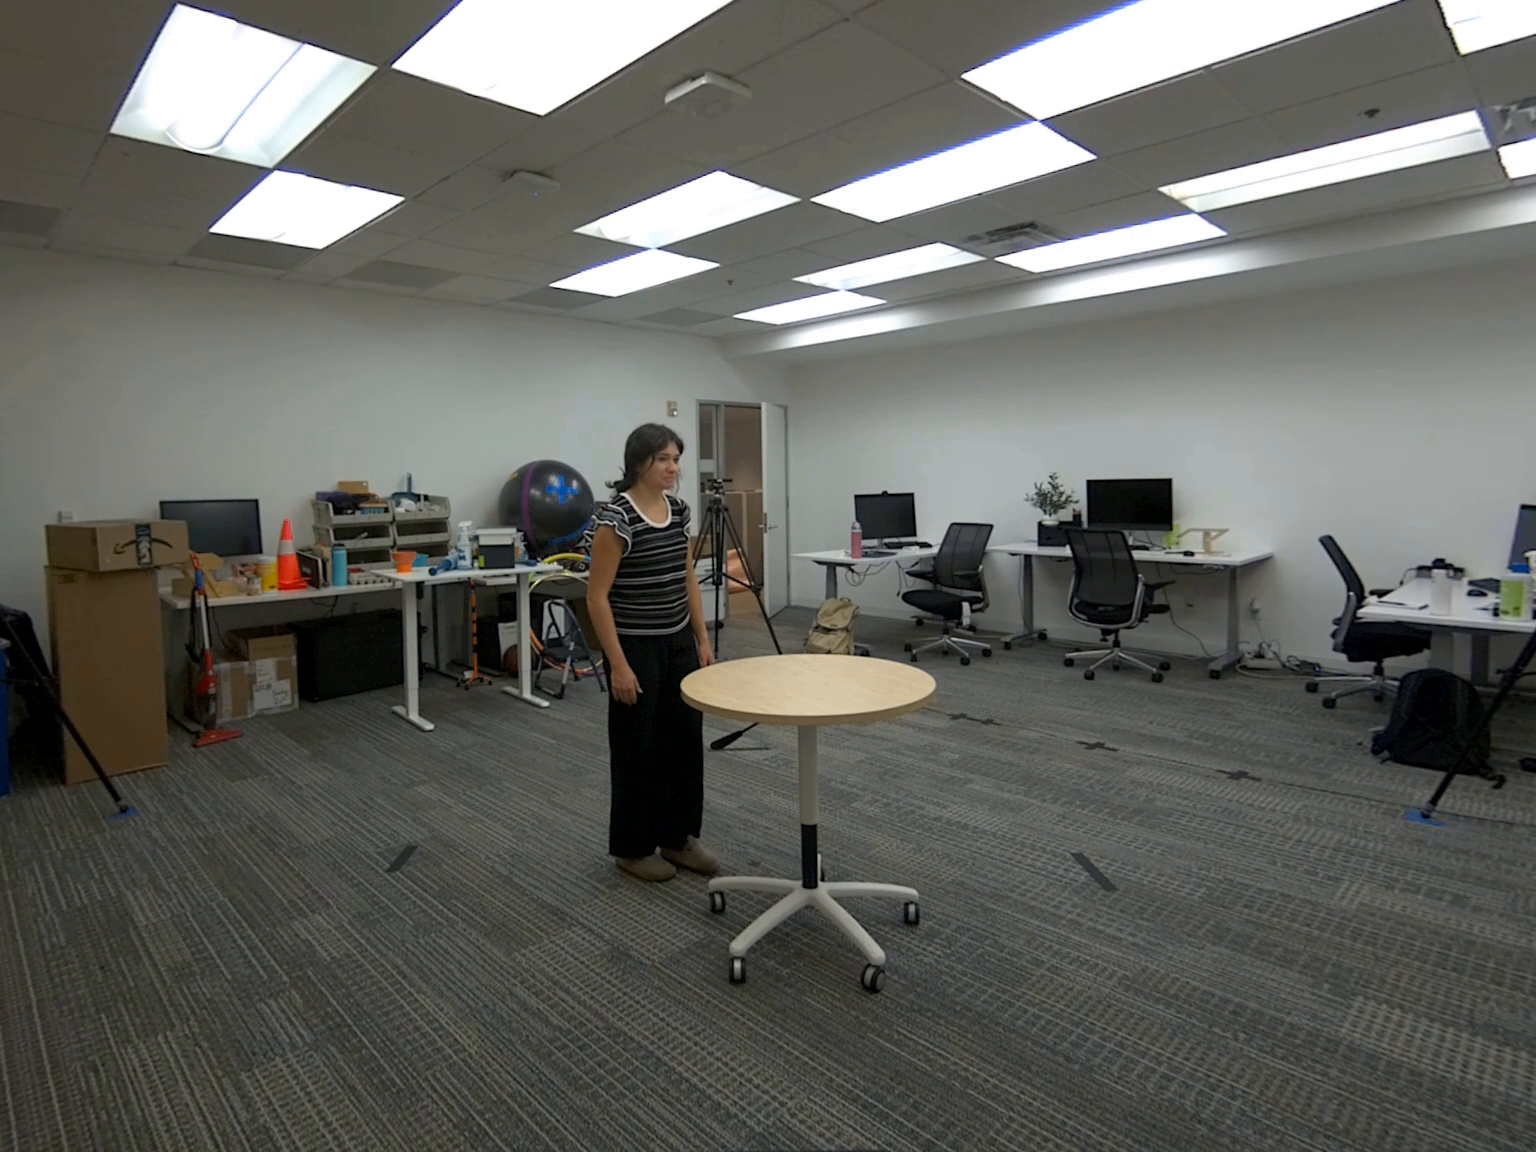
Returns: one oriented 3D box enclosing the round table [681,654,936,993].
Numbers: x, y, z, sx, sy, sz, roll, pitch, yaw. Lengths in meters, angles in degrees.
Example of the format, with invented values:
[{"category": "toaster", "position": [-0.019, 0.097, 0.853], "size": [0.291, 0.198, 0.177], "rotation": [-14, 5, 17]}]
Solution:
[{"category": "round table", "position": [0.134, 0.712, 2.615], "size": [0.763, 0.791, 0.768], "rotation": [-2, 5, -2]}]
